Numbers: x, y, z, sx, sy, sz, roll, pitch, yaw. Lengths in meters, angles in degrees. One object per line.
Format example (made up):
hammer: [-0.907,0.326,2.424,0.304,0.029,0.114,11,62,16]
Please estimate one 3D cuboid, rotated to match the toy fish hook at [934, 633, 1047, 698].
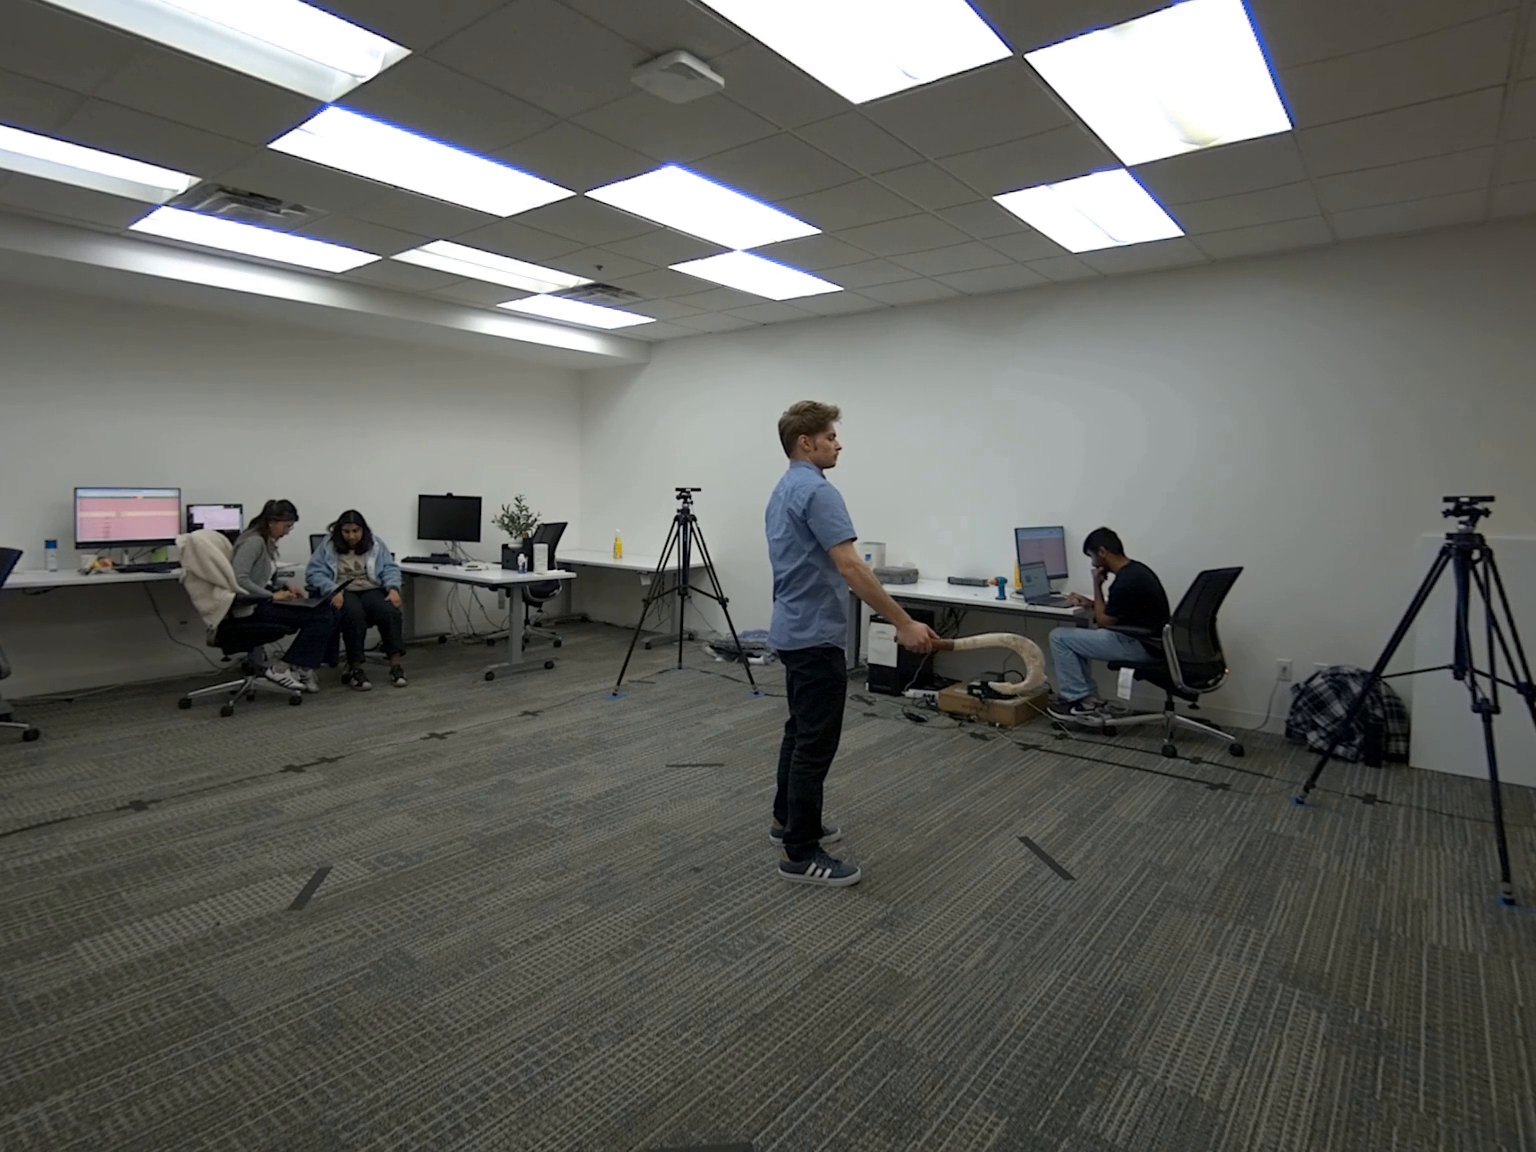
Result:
toy fish hook: [0.675,0.278,2.881,0.509,0.230,0.047,5,-36,3]
